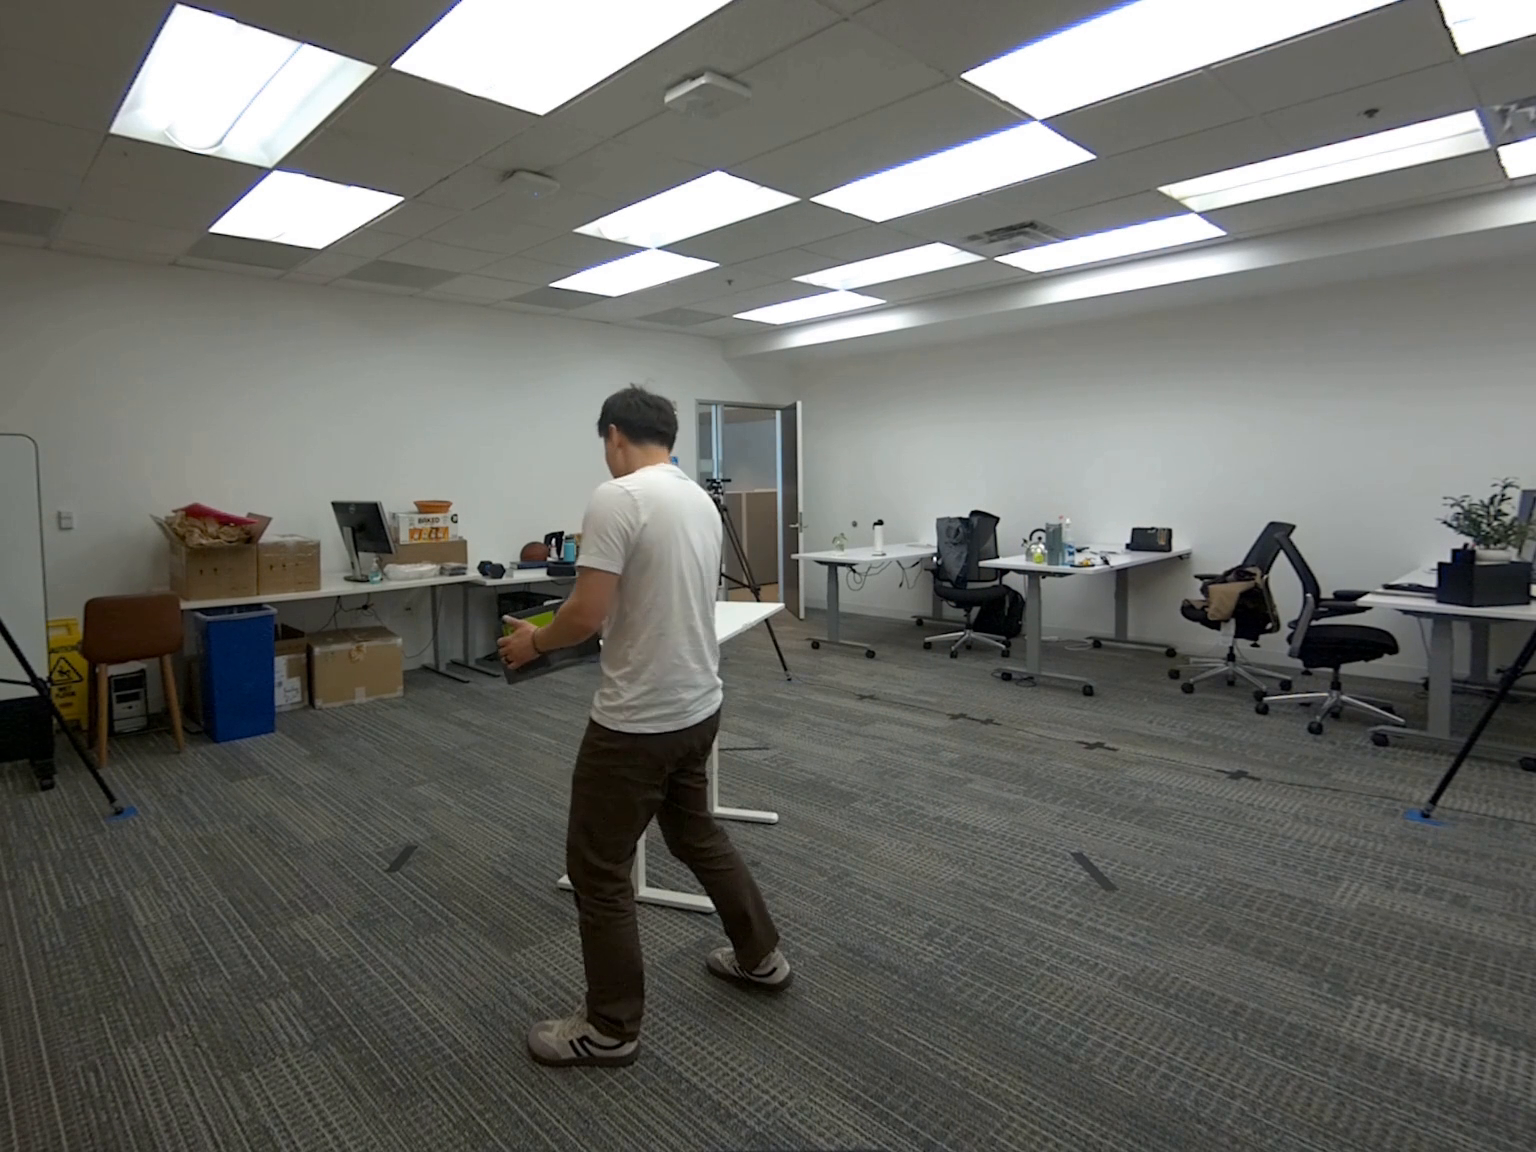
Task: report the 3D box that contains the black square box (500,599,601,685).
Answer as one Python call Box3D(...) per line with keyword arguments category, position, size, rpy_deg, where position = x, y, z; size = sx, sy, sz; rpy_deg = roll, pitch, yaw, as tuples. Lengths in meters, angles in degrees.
Box3D(category="black square box", position=(-0.582, 0.173, 2.294), size=(0.224, 0.158, 0.218), rpy_deg=(-14, -9, -23))
